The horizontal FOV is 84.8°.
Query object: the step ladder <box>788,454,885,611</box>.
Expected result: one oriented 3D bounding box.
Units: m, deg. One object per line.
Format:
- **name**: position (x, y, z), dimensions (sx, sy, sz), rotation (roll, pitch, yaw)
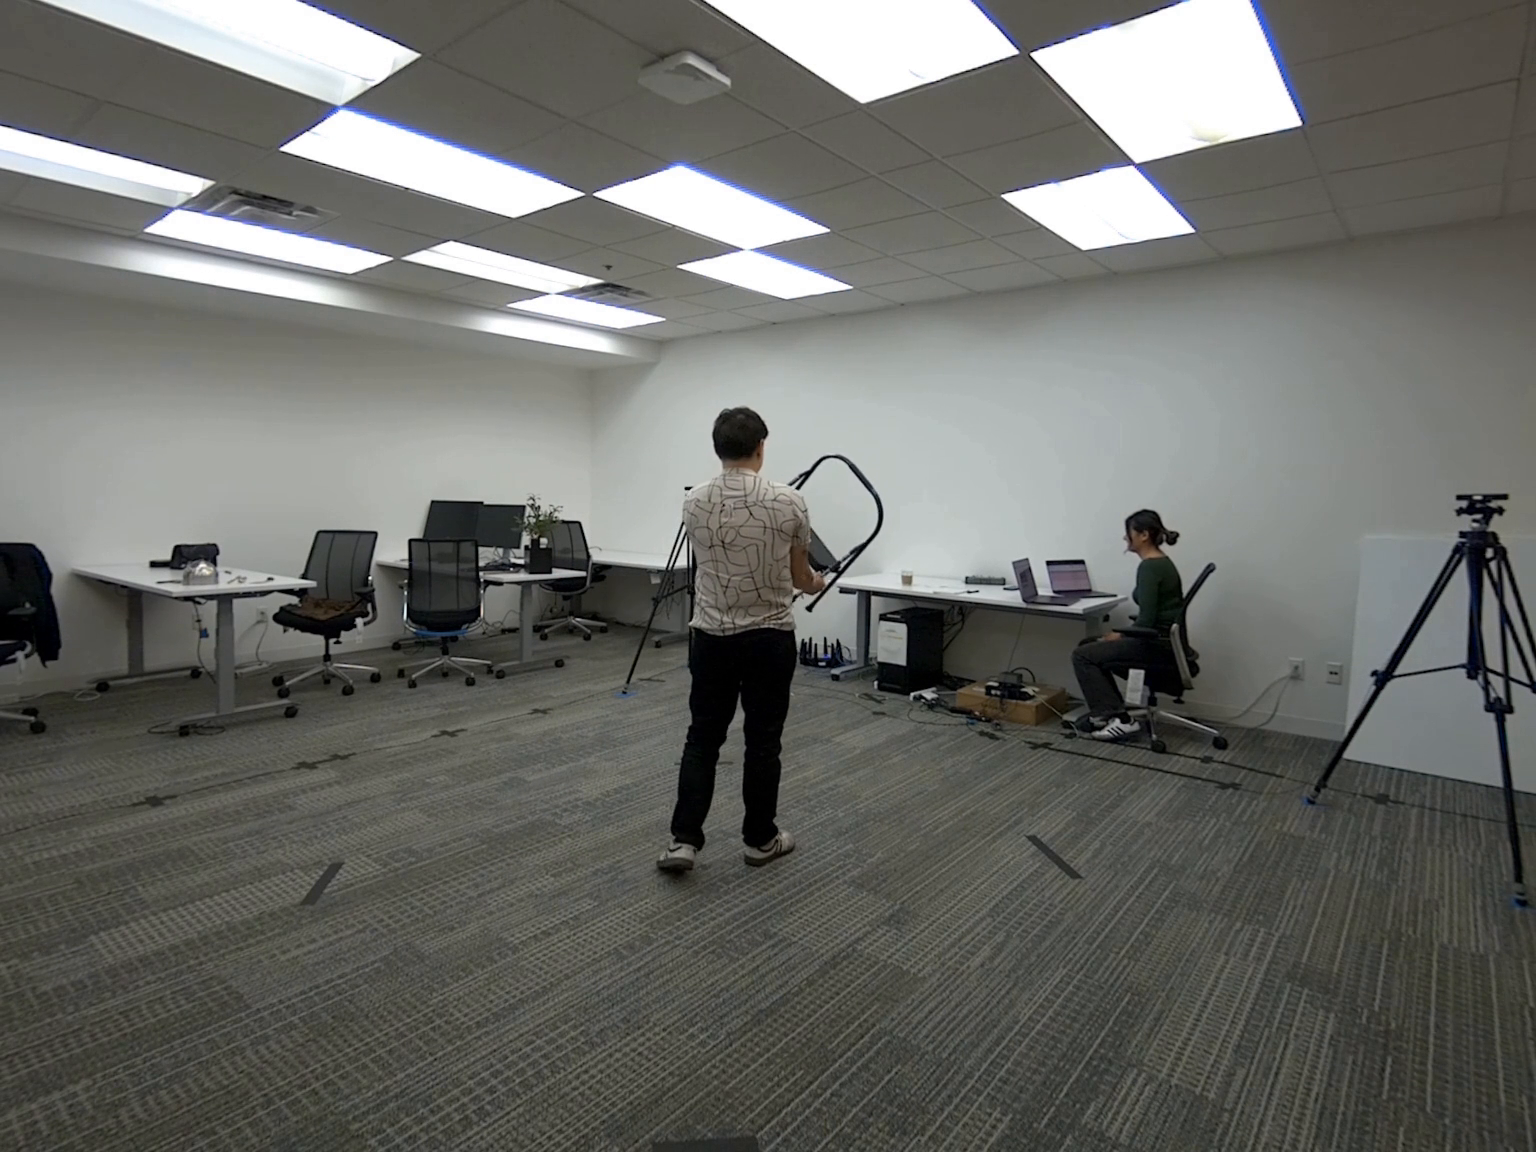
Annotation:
- **step ladder**: position (0.176, -0.196, 3.530), dimensions (0.607, 0.442, 0.340), rotation (-44, -20, 21)
